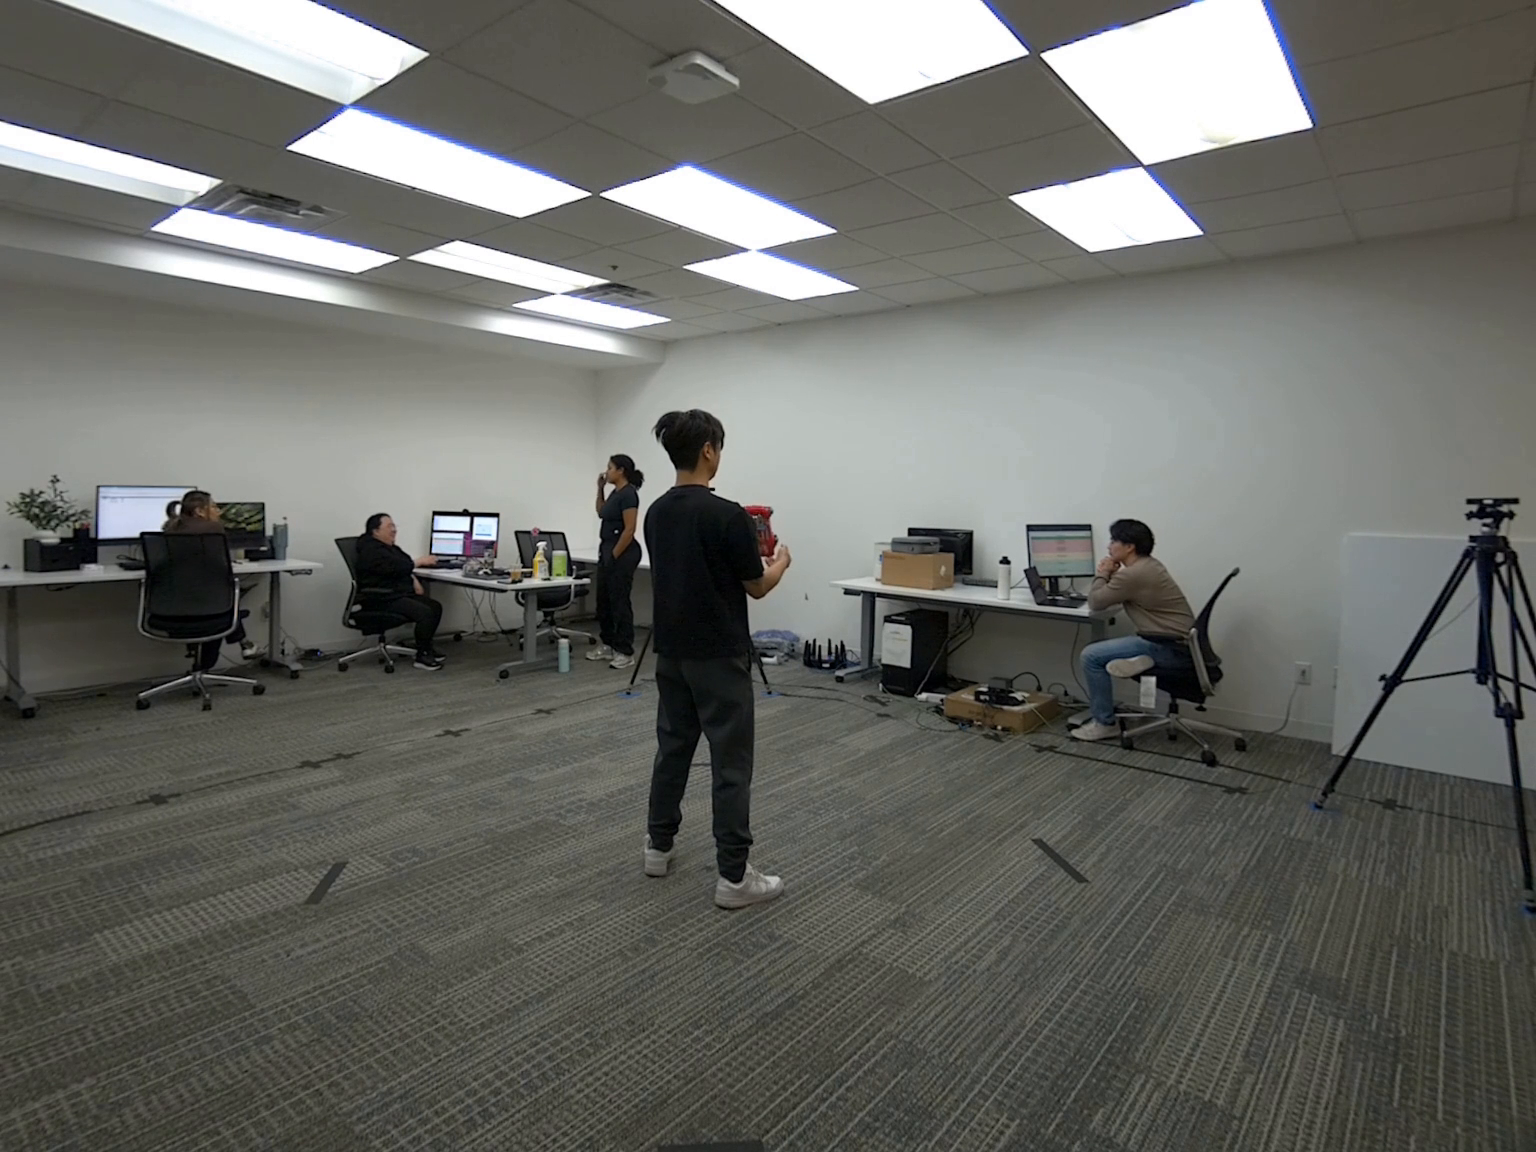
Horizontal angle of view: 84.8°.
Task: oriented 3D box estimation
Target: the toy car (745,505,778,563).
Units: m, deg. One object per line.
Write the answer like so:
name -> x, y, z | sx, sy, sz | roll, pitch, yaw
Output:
toy car -> -0.048, -0.171, 3.291 | 0.132, 0.247, 0.084 | 1, 33, 13
